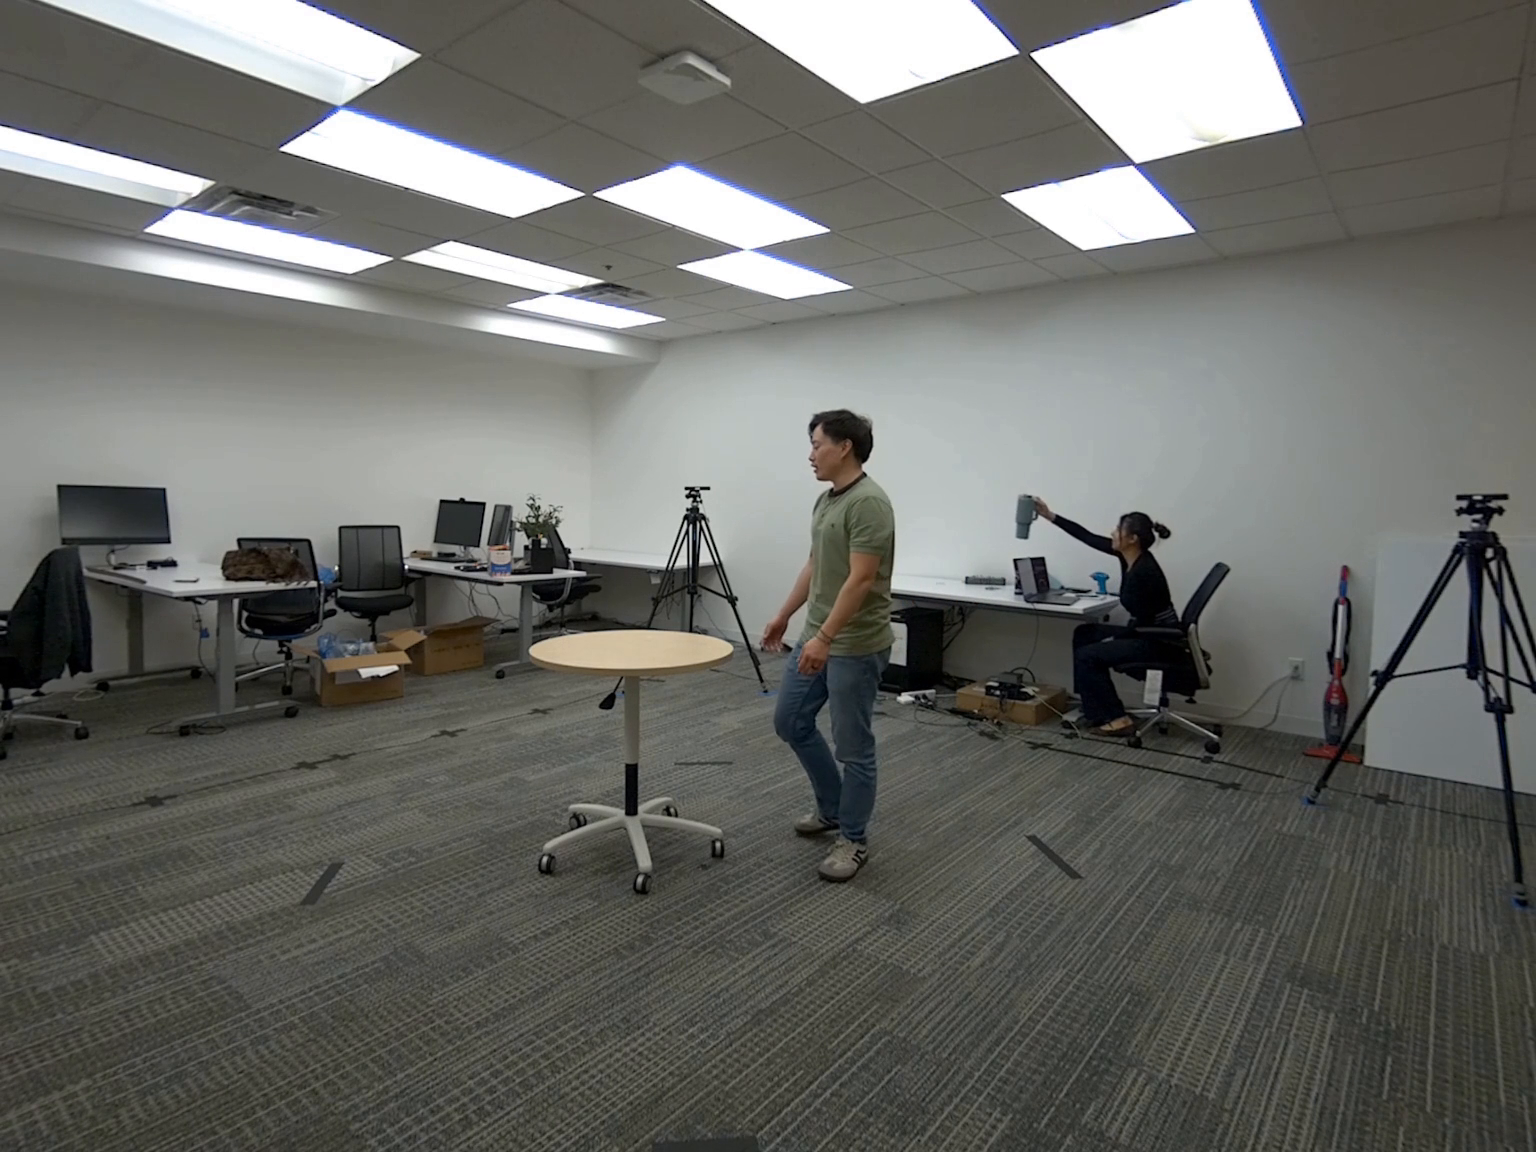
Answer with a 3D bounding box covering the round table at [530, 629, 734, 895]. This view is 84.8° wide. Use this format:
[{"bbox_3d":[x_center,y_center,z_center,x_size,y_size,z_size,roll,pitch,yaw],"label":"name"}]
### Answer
[{"bbox_3d":[-0.531,0.662,3.238,0.763,0.791,0.768,1,4,-2],"label":"round table"}]
